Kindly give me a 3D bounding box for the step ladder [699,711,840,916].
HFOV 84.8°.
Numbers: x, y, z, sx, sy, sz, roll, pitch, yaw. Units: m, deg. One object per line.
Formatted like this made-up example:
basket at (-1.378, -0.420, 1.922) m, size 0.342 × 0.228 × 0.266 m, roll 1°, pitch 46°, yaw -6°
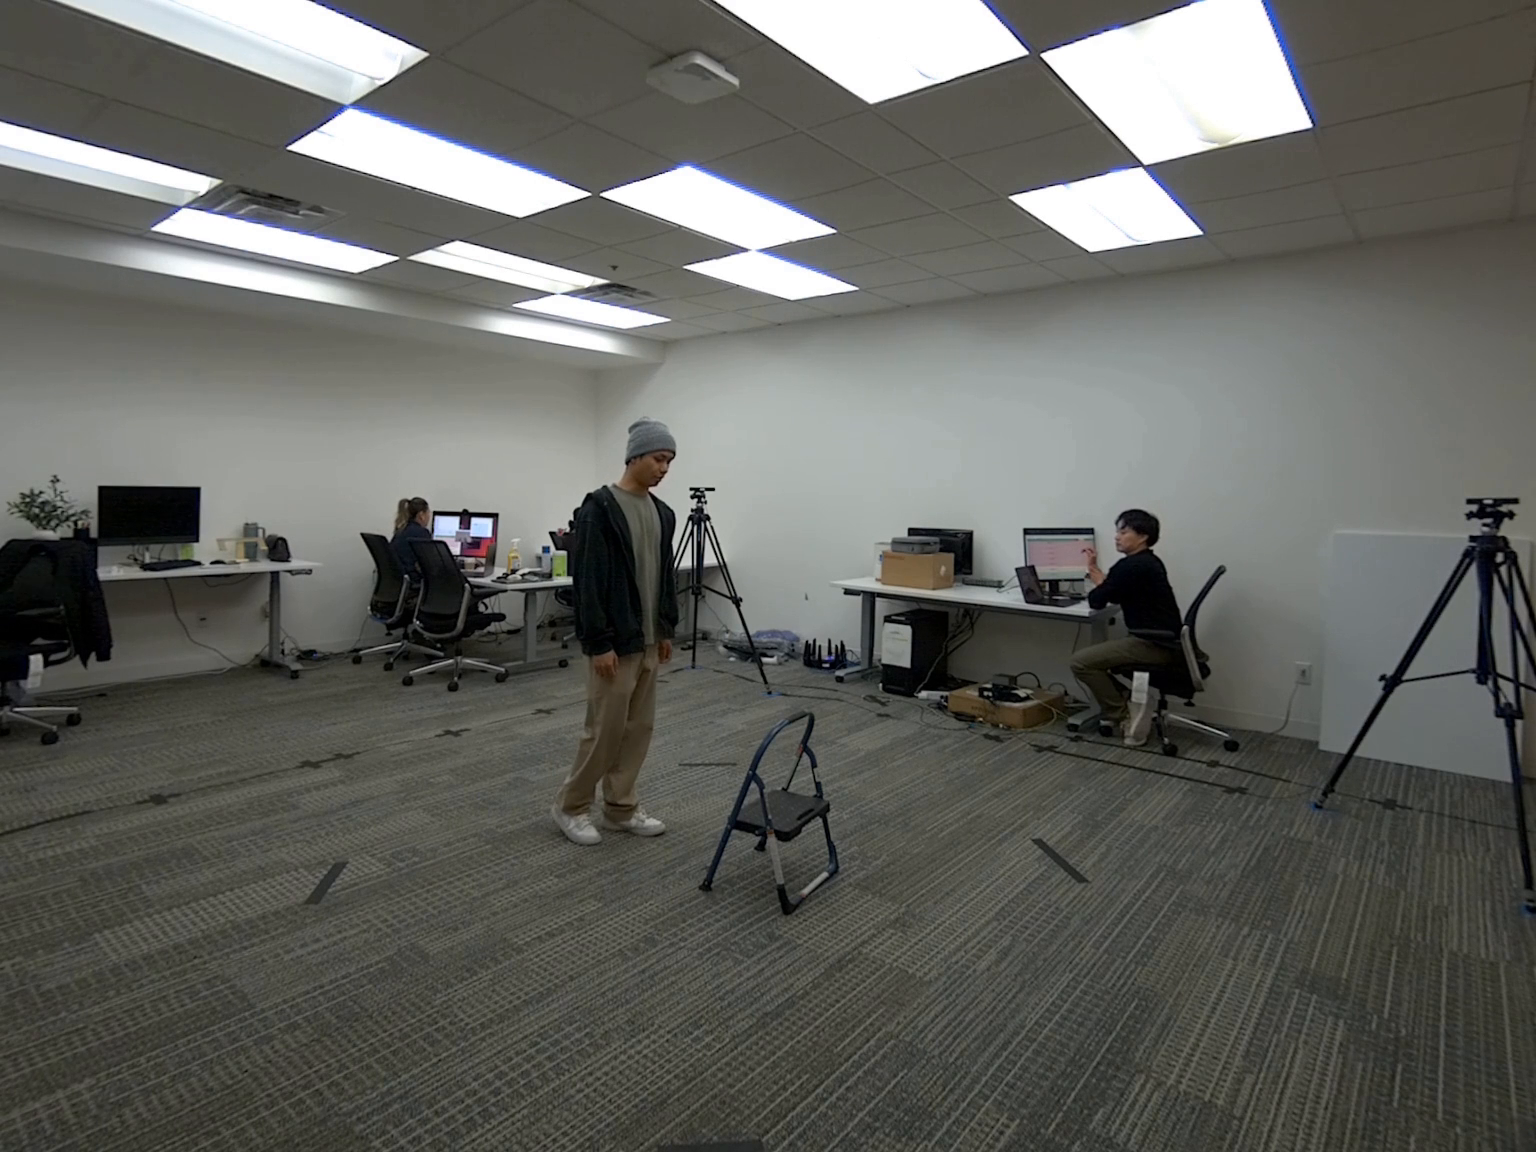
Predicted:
step ladder at (0.013, 0.776, 3.018) m, size 0.359 × 0.604 × 0.420 m, roll 3°, pitch 4°, yaw 29°
